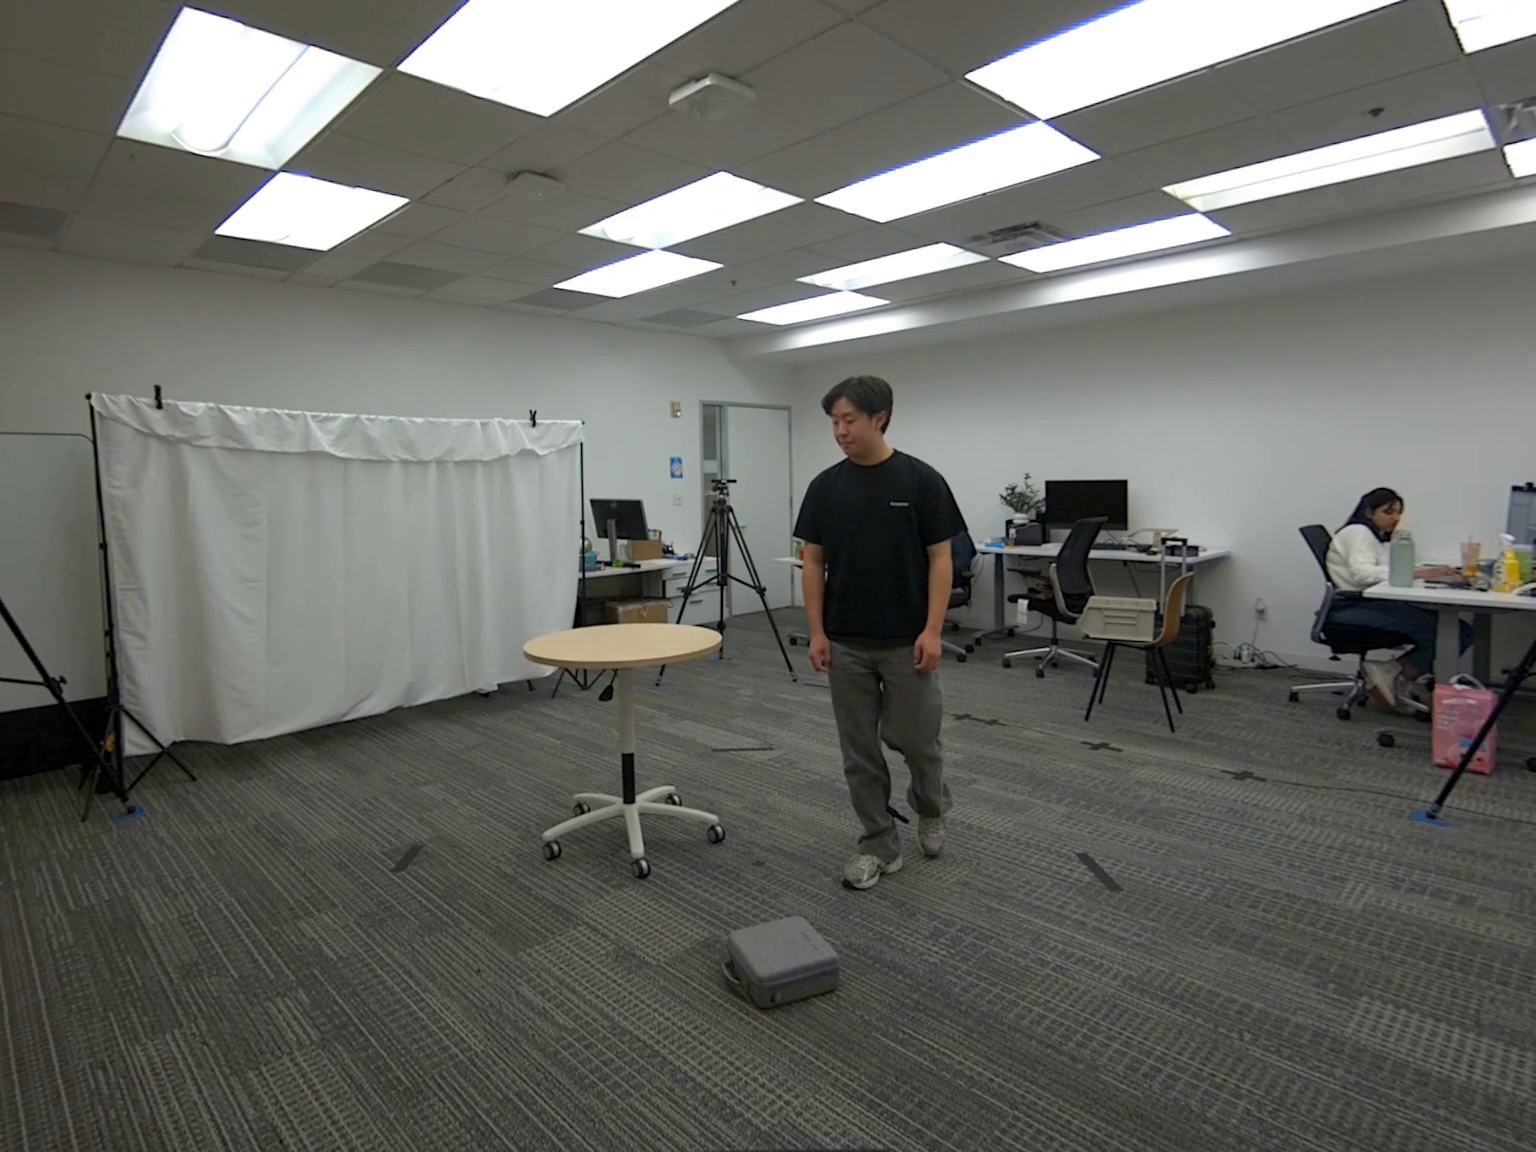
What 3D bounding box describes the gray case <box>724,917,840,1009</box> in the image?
[{"bbox_3d":[0.035,1.076,2.389,0.282,0.102,0.269,-5,7,-21],"label":"gray case"}]
